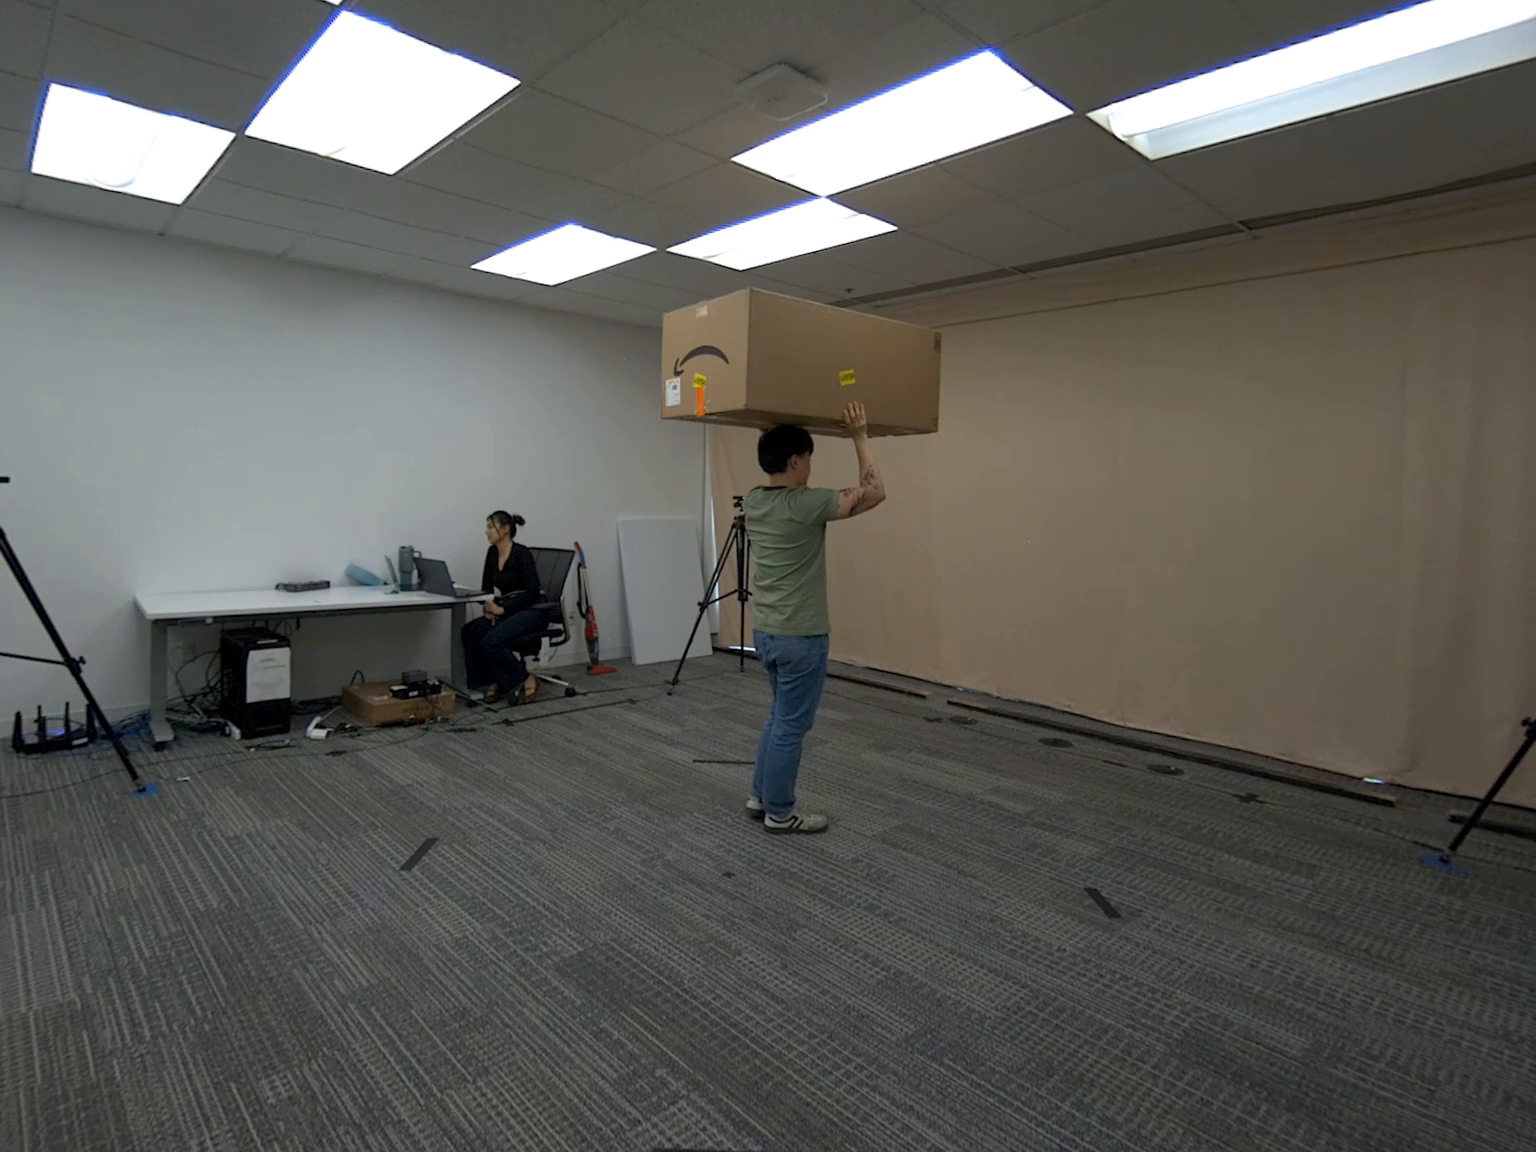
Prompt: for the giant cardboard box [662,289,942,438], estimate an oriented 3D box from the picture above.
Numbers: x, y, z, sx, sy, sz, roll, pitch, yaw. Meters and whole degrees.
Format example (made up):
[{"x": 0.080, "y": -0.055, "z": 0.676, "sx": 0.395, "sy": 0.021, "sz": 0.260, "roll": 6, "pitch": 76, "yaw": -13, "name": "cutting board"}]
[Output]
[{"x": 0.140, "y": -0.821, "z": 3.444, "sx": 1.003, "sy": 0.425, "sz": 0.592, "roll": -1, "pitch": 5, "yaw": -37, "name": "giant cardboard box"}]
